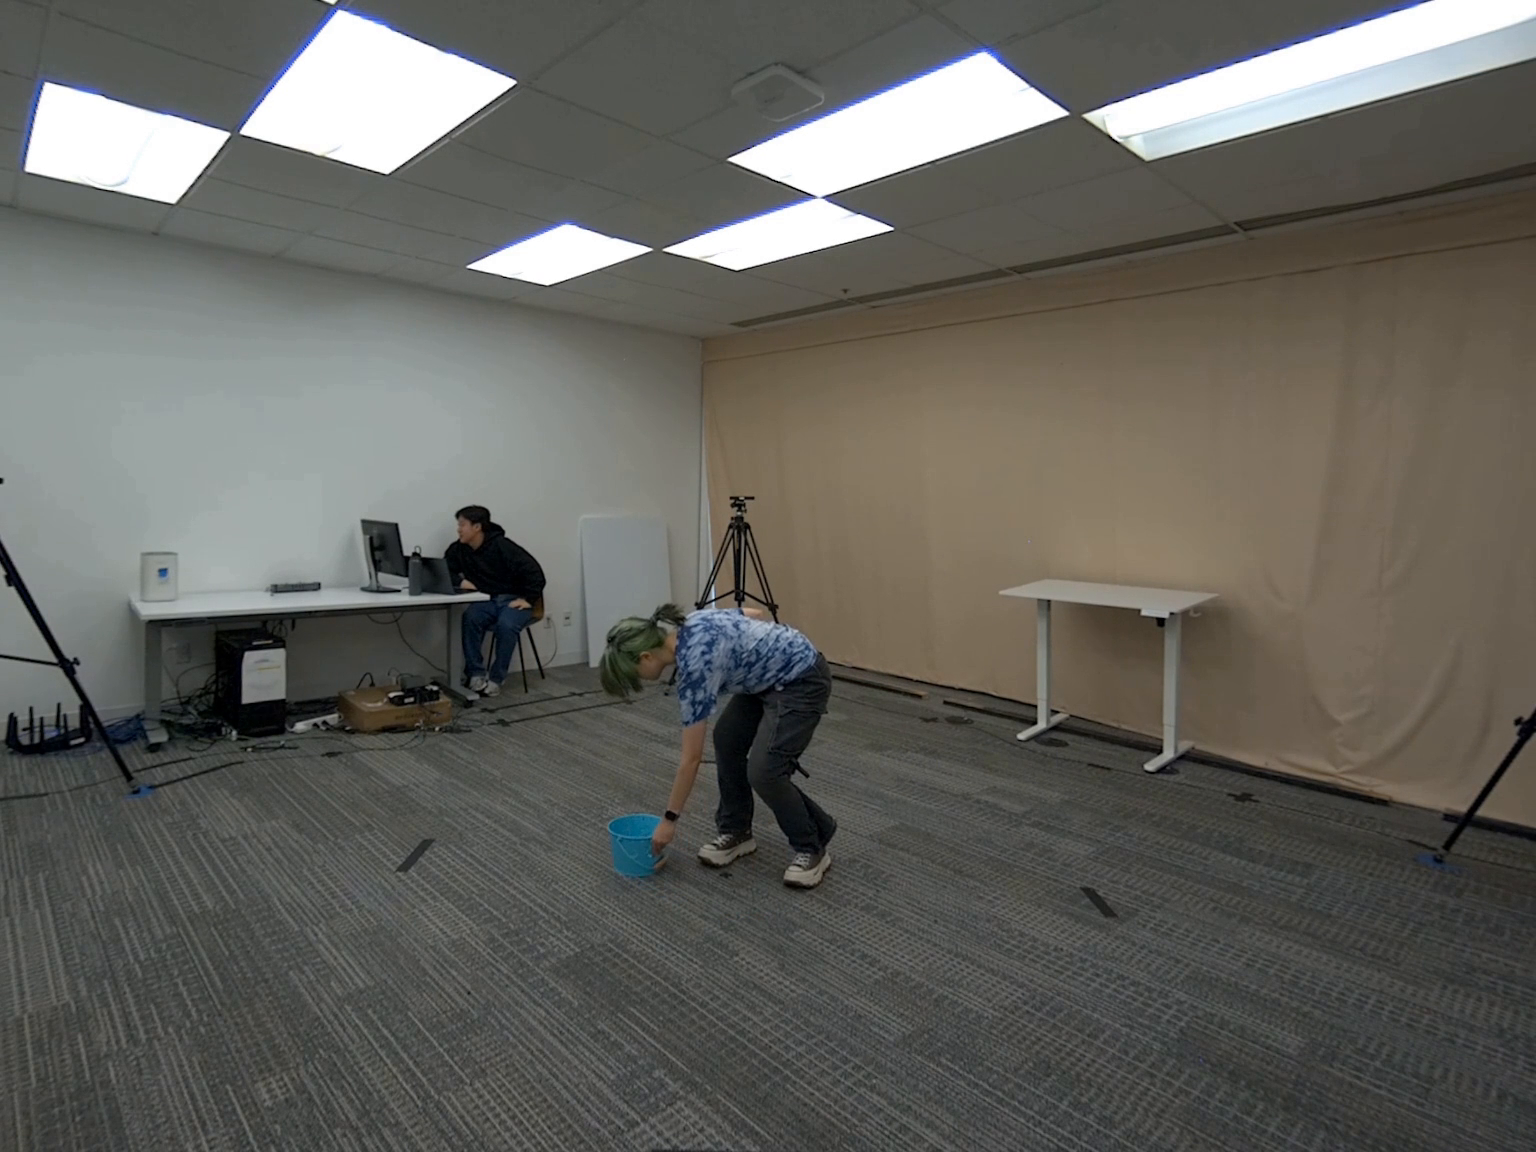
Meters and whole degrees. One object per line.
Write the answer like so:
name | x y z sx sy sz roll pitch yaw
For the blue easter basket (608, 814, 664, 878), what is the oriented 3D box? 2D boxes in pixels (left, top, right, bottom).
blue easter basket | -0.485 1.012 3.156 0.243 0.155 0.244 1 4 -1
